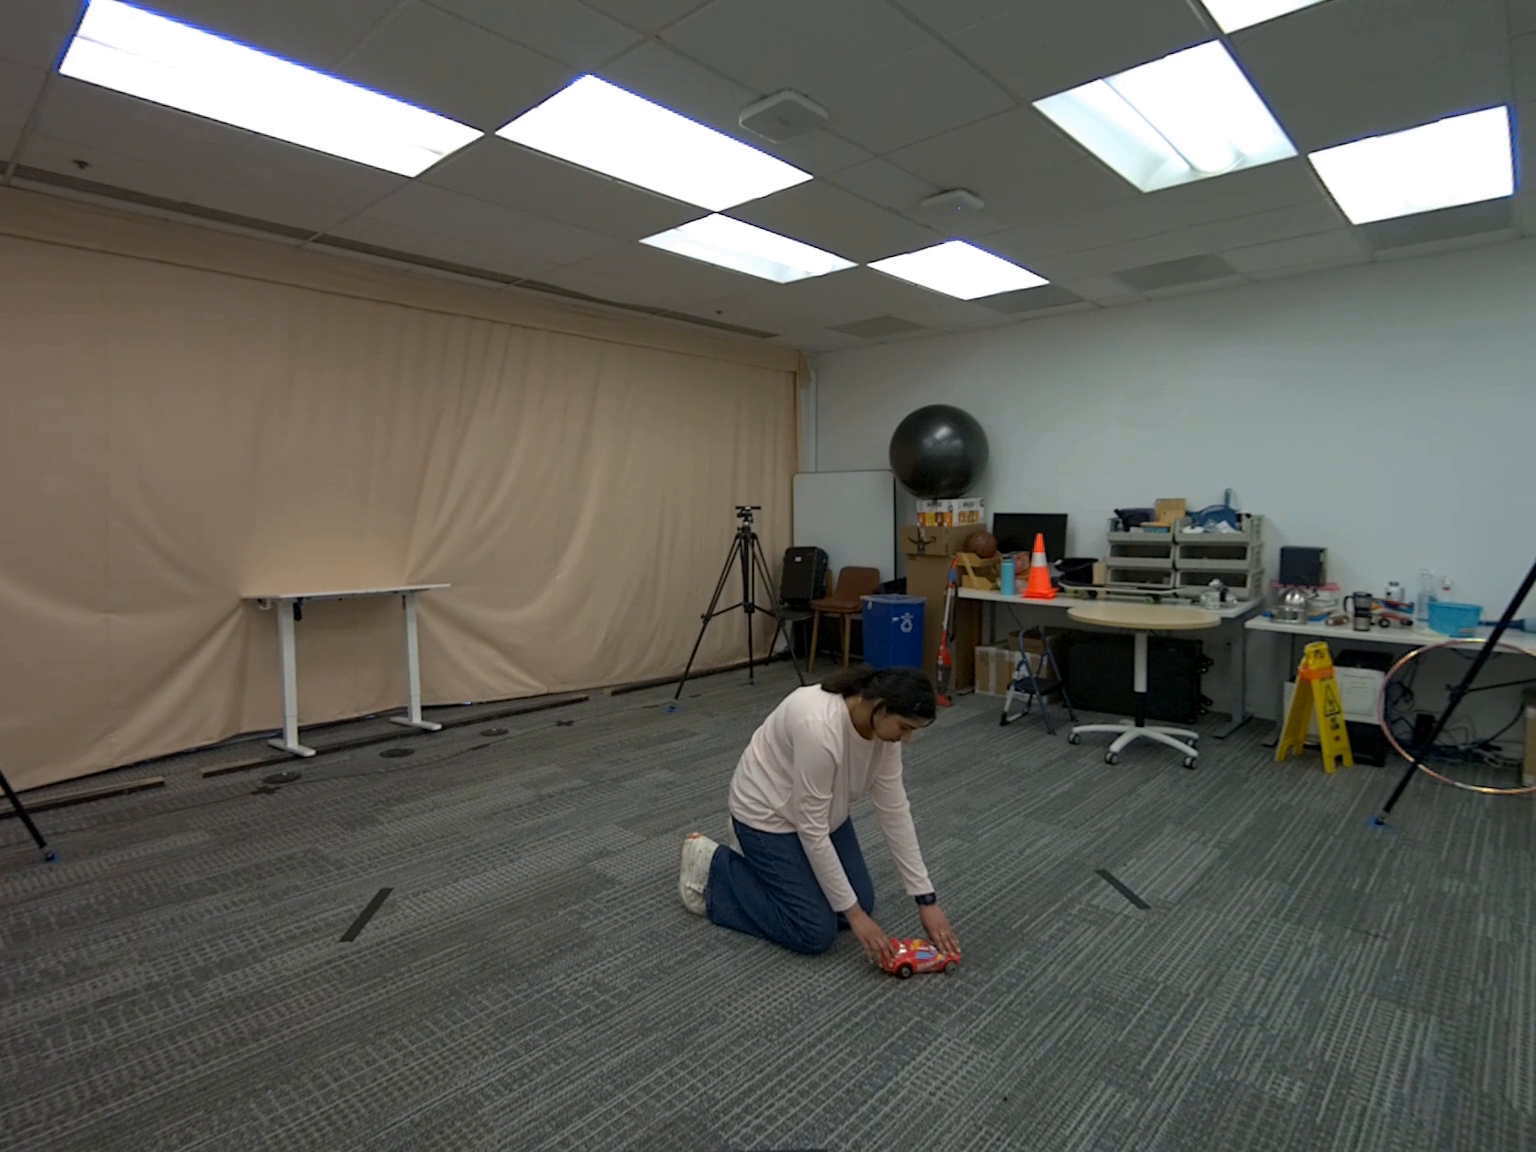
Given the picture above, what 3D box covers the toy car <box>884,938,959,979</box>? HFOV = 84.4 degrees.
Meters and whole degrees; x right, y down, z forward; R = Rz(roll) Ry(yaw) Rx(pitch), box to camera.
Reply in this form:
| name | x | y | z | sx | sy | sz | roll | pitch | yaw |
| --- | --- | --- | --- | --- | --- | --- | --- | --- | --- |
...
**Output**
| name | x | y | z | sx | sy | sz | roll | pitch | yaw |
| --- | --- | --- | --- | --- | --- | --- | --- | --- | --- |
| toy car | 0.447 | 1.152 | 2.528 | 0.252 | 0.083 | 0.131 | 12 | 4 | -8 |
